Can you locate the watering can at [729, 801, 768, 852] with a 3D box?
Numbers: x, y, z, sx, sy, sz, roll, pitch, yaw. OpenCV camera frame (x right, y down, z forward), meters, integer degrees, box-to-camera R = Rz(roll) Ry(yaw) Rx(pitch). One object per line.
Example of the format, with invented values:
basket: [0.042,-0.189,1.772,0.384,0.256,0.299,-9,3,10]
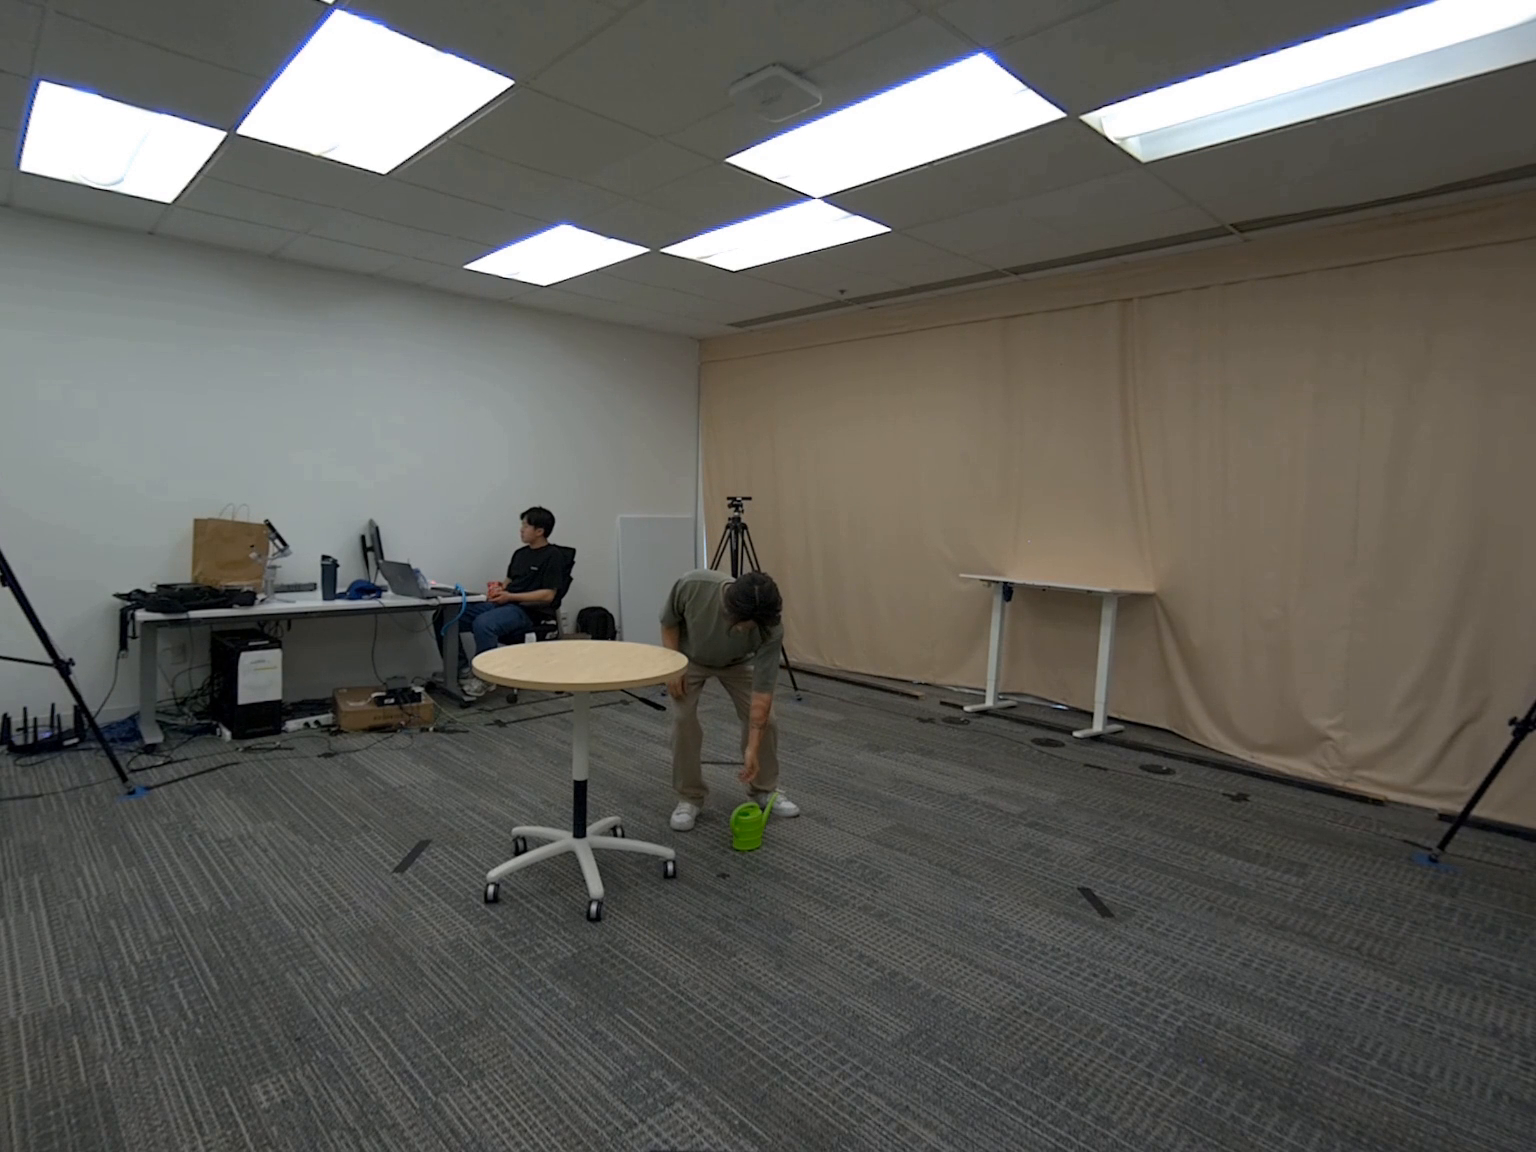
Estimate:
watering can: [-0.060,0.991,3.392,0.272,0.176,0.100,-3,5,-35]
